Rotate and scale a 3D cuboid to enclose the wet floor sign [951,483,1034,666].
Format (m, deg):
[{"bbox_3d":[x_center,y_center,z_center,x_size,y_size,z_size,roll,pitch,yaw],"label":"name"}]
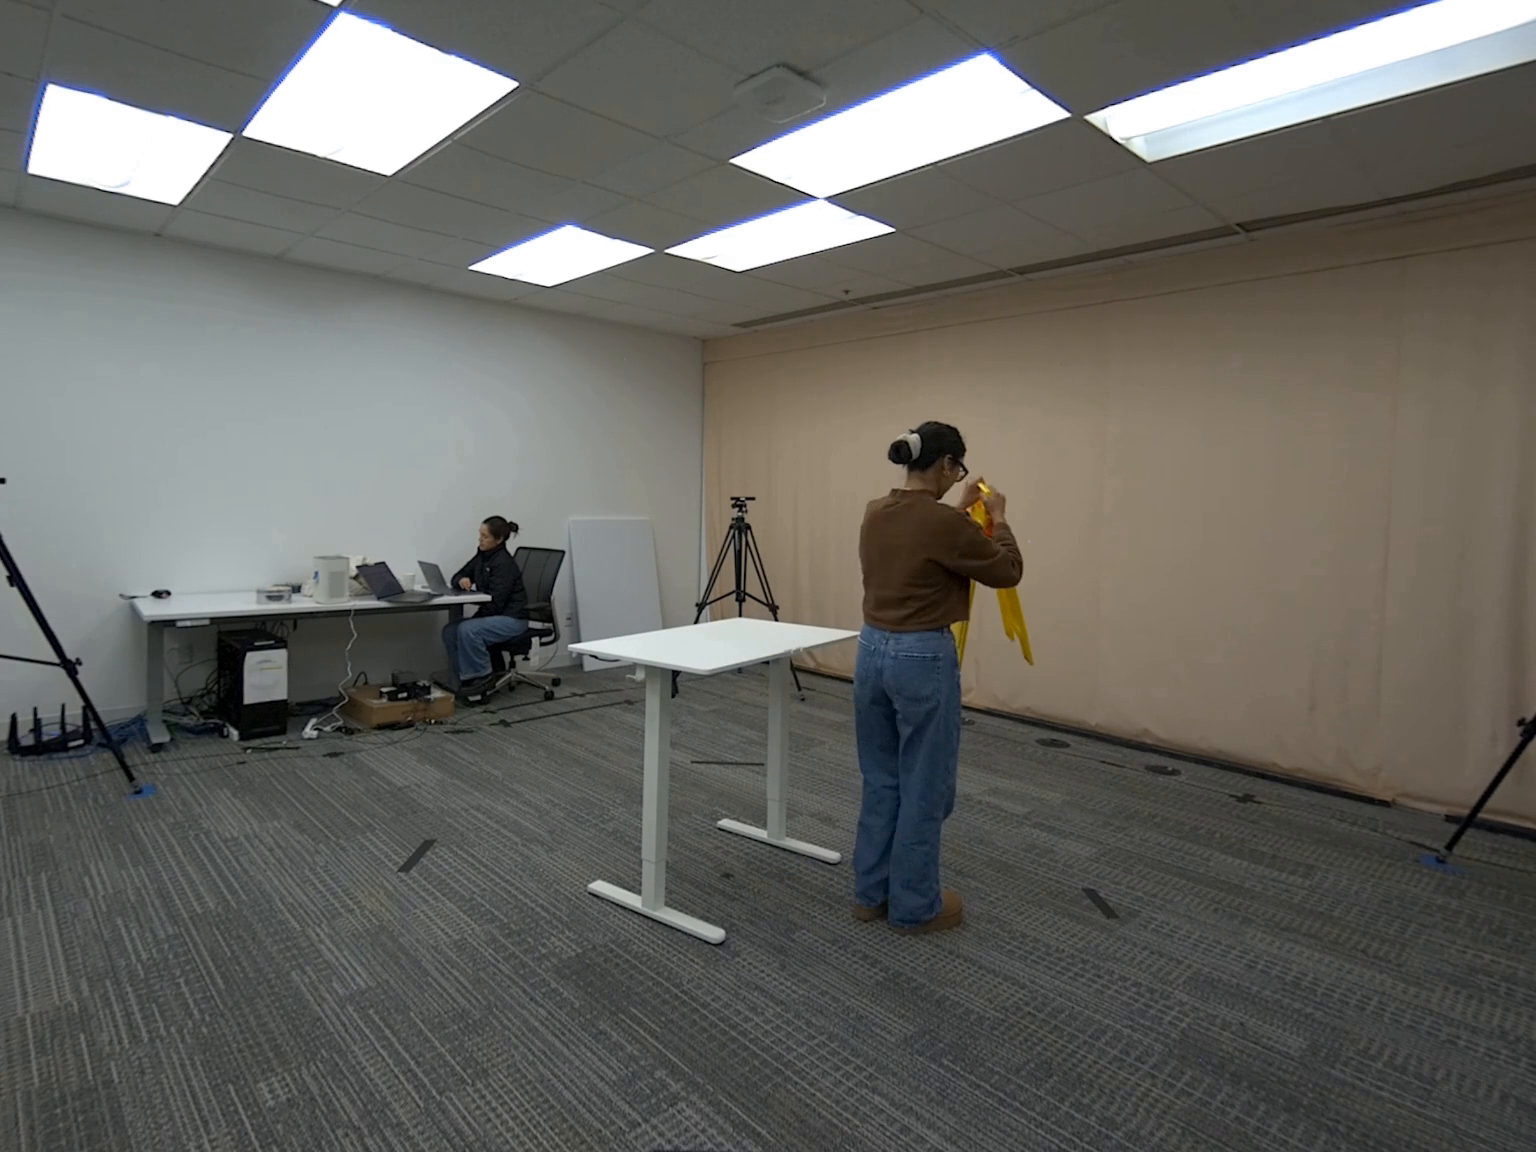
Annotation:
[{"bbox_3d":[0.749,-0.006,2.994,0.289,0.637,0.286,-6,17,-1],"label":"wet floor sign"}]
